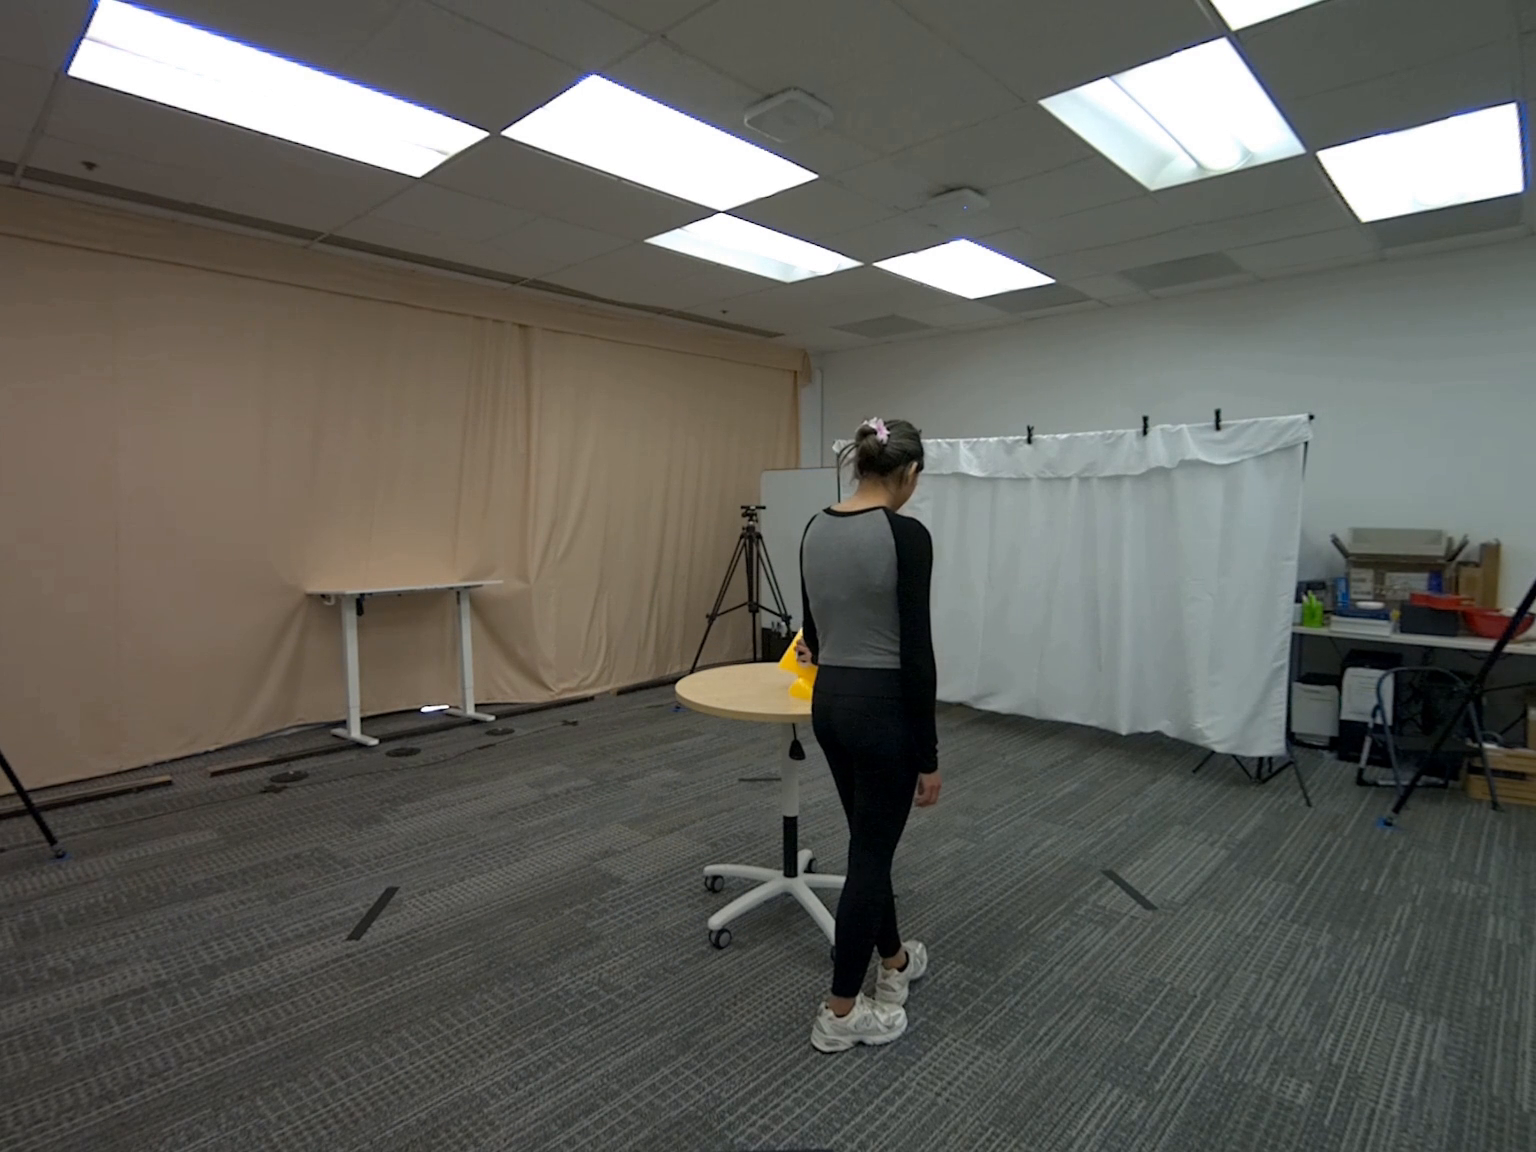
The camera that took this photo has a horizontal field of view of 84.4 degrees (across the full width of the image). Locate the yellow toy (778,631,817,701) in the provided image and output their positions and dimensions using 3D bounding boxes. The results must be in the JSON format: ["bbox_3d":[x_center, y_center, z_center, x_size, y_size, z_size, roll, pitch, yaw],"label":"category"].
[{"bbox_3d":[0.166,0.262,2.698,0.199,0.230,0.199,-4,6,-29],"label":"yellow toy"}]
